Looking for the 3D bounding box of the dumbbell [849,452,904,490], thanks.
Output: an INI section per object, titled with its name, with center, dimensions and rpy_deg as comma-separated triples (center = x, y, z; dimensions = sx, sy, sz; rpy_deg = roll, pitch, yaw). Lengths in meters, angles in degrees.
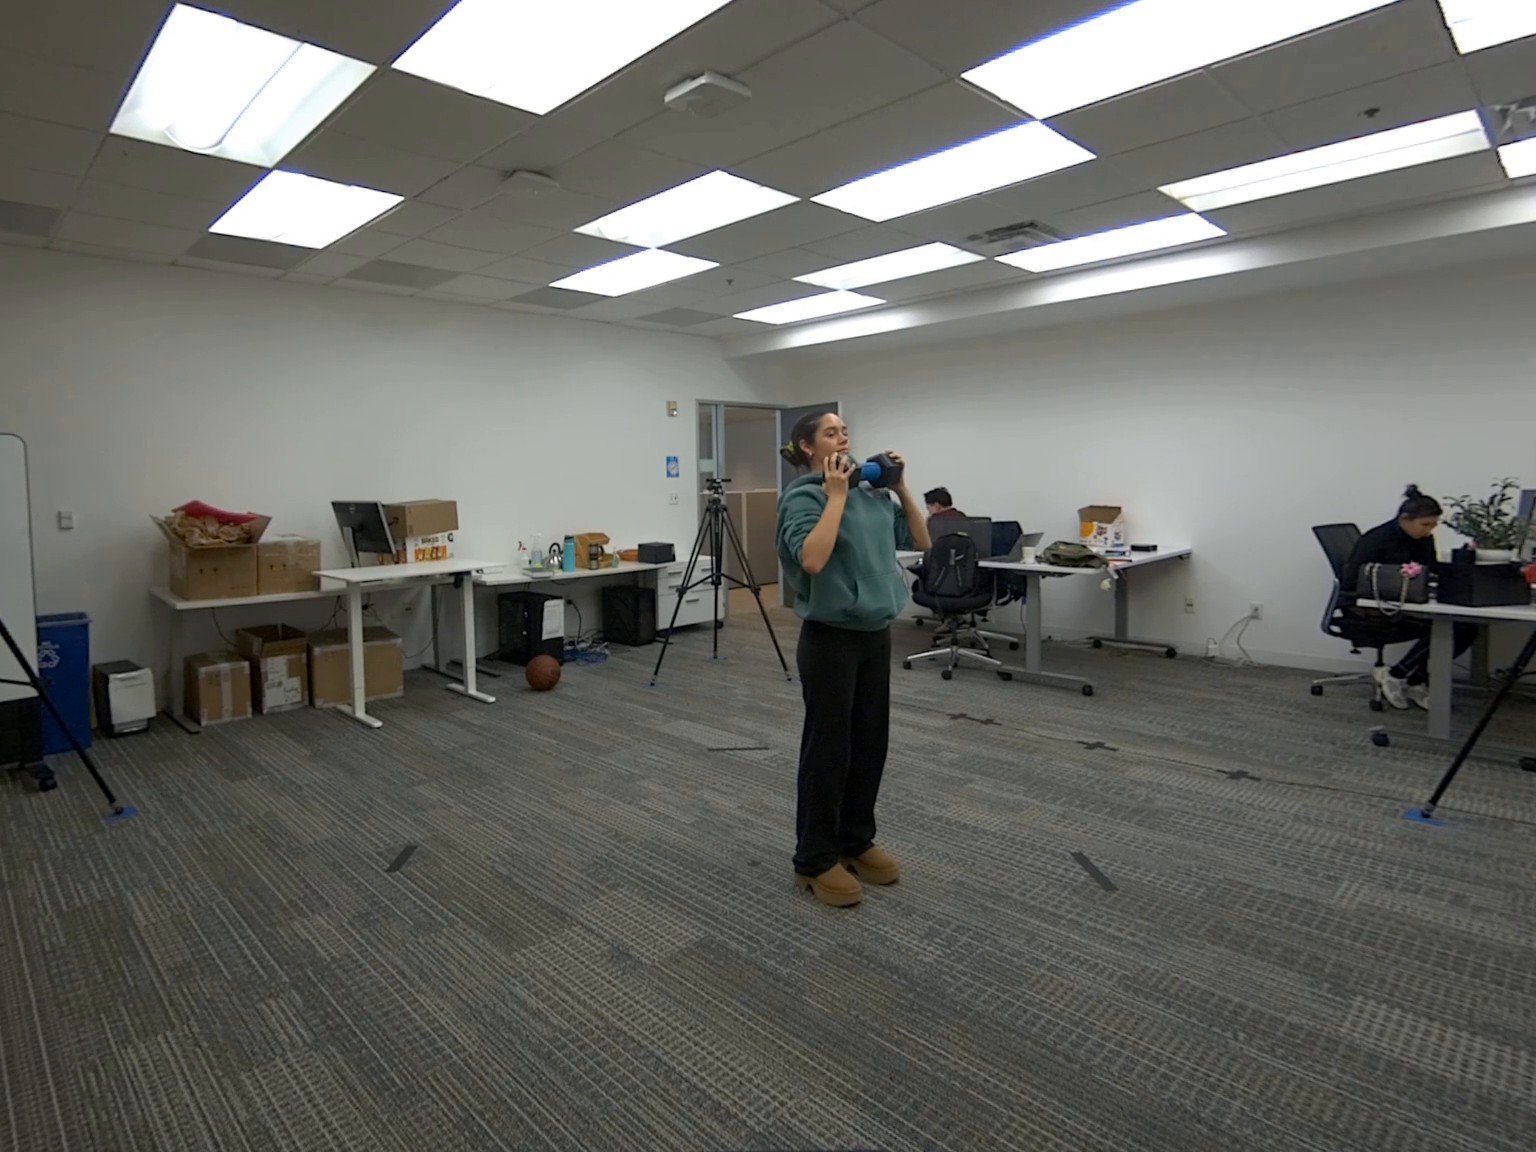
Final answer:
[dumbbell]
center = 0.305, -0.345, 2.804
dimensions = 0.113, 0.121, 0.286
rpy_deg = 27, 26, 38
